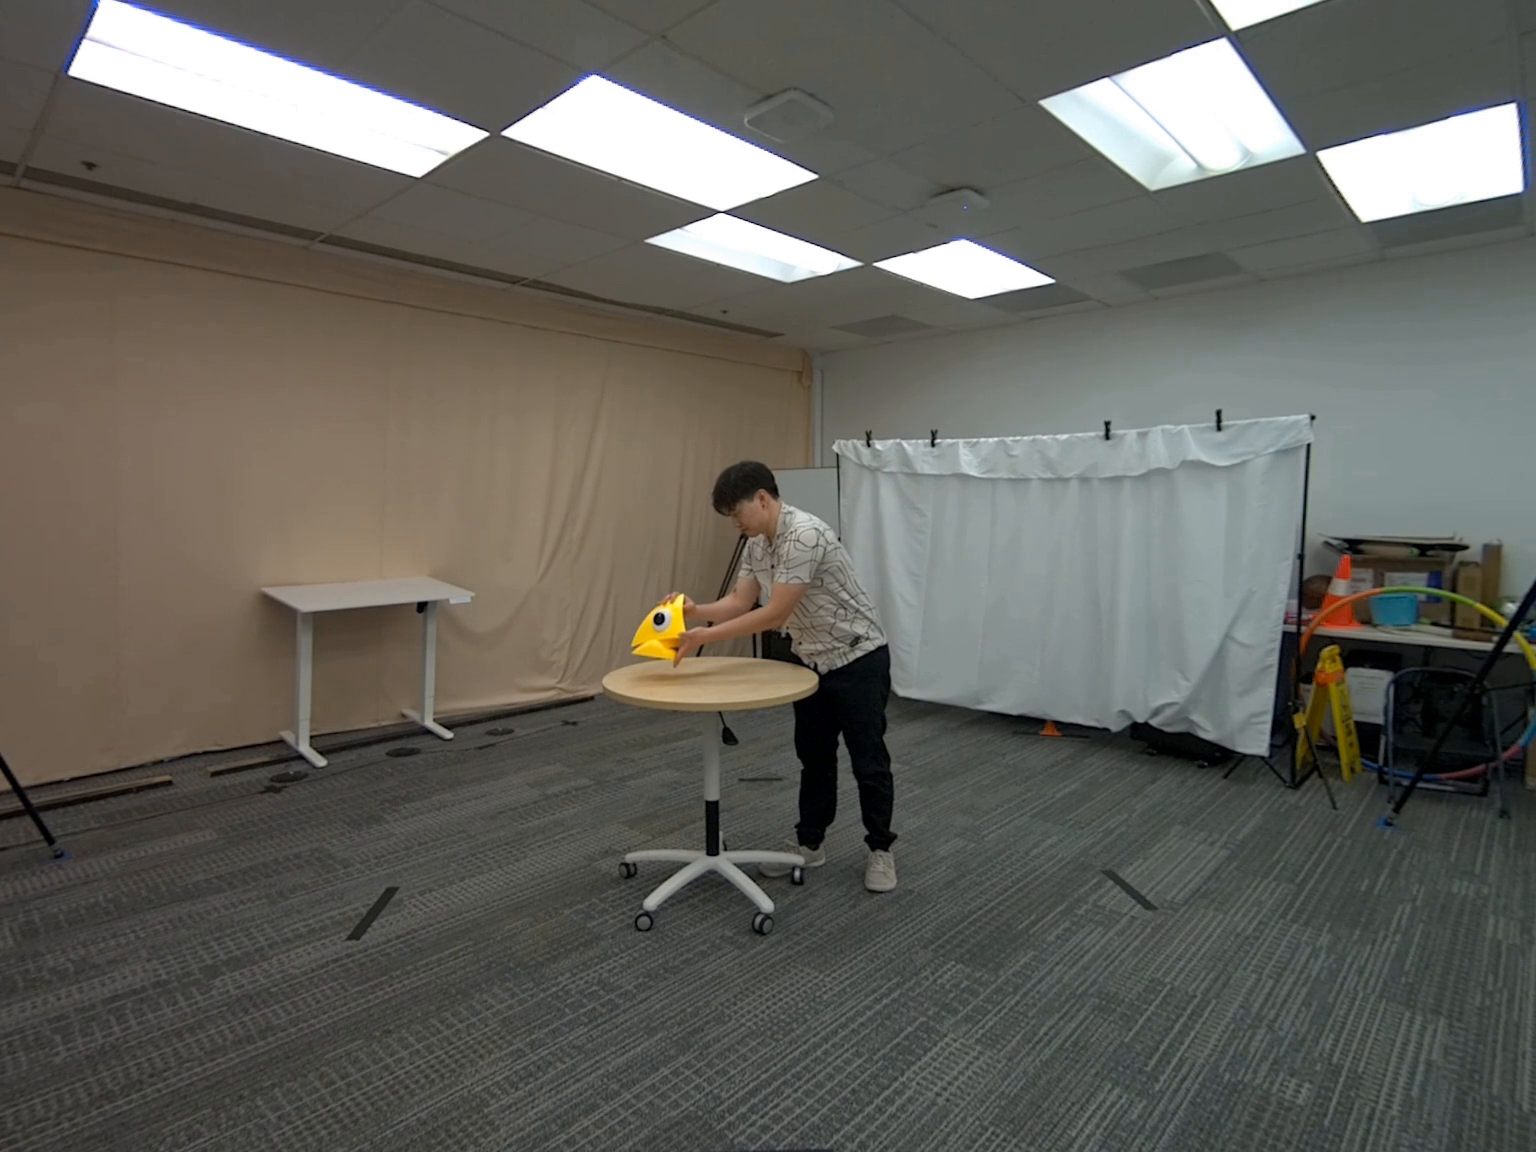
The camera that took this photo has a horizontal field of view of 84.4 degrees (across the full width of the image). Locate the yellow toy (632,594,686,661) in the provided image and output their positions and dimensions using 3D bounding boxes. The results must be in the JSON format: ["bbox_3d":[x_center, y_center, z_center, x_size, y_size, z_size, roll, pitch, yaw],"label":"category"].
[{"bbox_3d":[-0.373,0.172,2.980,0.192,0.231,0.205,8,-3,-4],"label":"yellow toy"}]
